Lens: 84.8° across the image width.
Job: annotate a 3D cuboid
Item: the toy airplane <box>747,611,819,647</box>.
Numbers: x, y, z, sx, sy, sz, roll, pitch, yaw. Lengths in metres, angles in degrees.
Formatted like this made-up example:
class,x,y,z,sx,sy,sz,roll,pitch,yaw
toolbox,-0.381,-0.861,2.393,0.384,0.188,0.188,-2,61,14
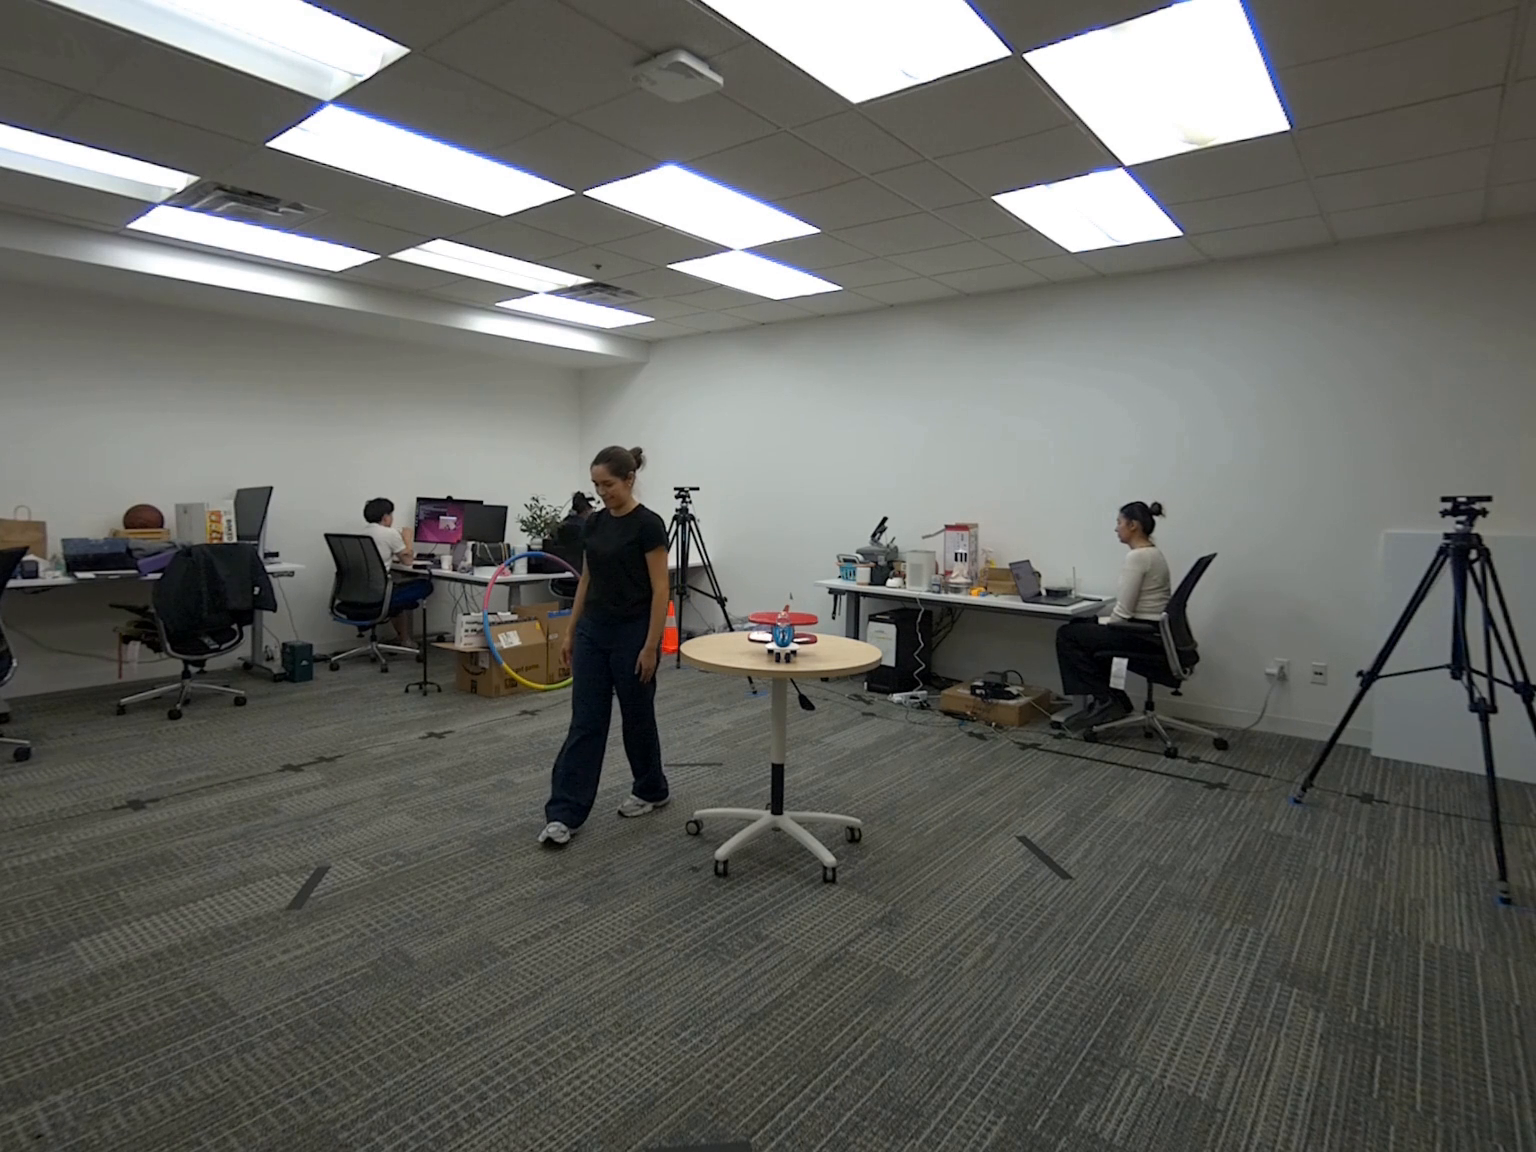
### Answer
class,x,y,z,sx,sy,sz,roll,pitch,yaw
toy airplane,0.091,0.213,3.105,0.245,0.156,0.267,-4,7,-27
